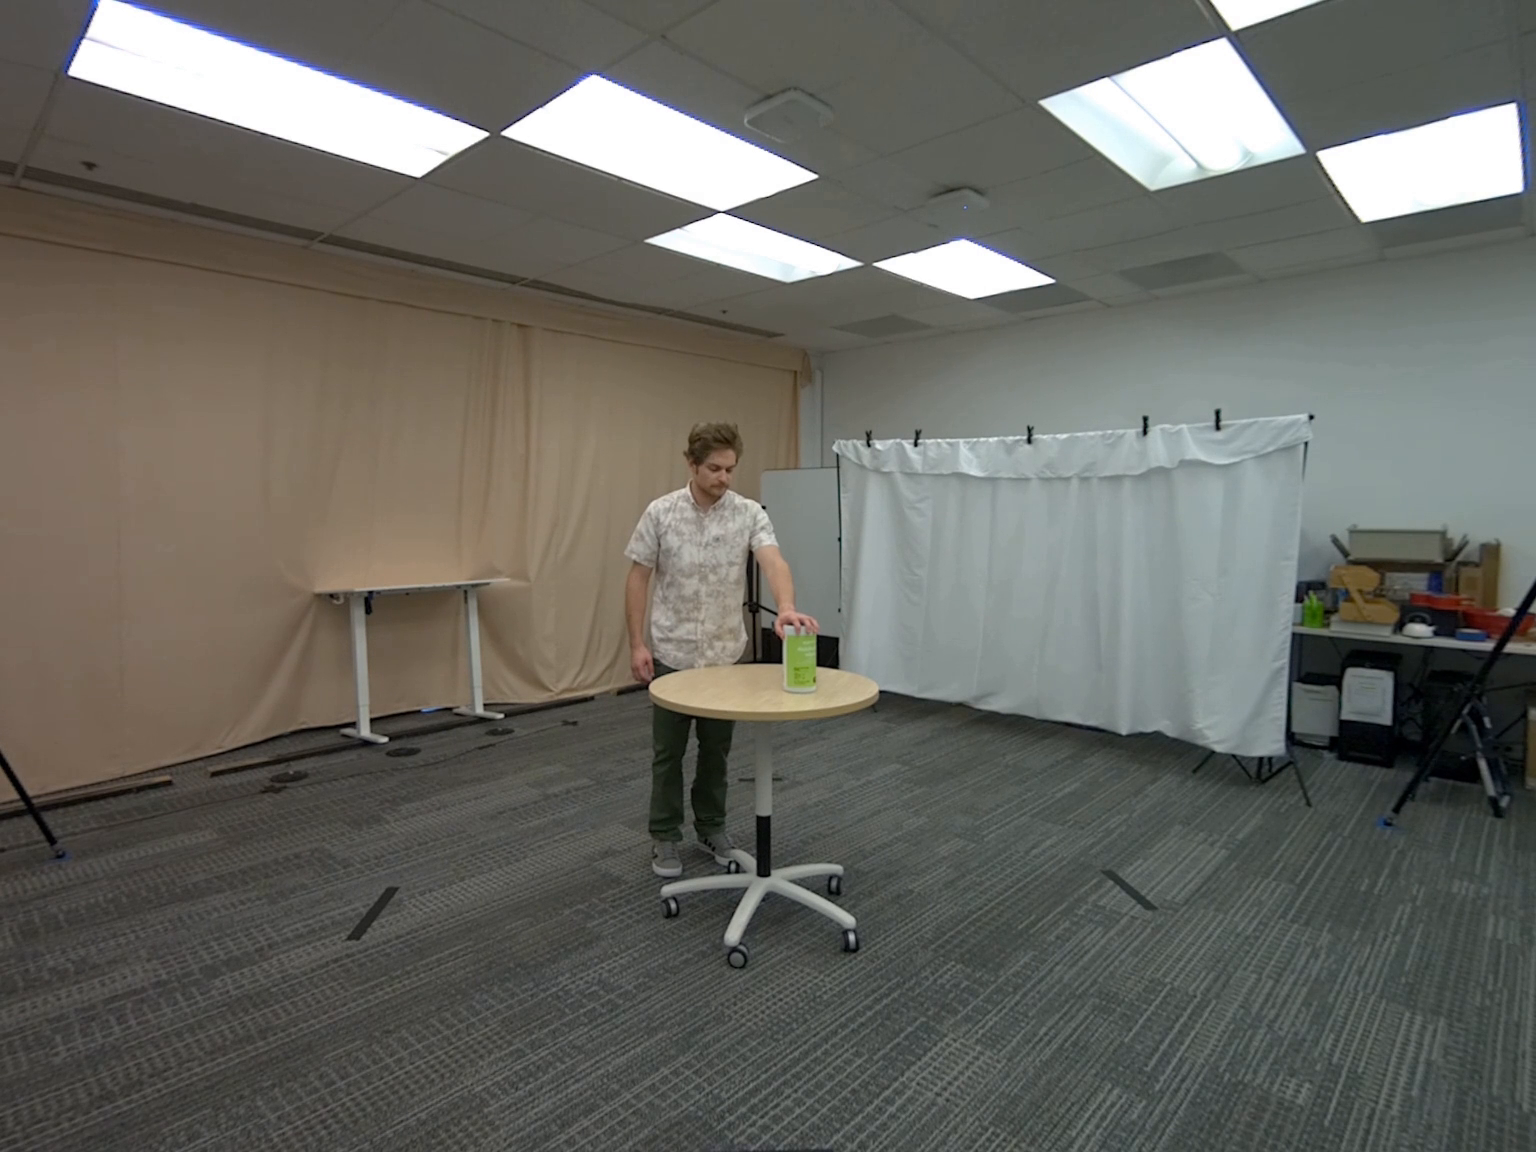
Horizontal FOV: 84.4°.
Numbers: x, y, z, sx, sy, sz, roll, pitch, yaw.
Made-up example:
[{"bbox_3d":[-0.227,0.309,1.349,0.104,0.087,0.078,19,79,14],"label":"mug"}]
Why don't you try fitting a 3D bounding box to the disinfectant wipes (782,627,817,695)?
[{"bbox_3d":[0.104,0.268,2.731,0.118,0.217,0.118,0,3,-2],"label":"disinfectant wipes"}]
